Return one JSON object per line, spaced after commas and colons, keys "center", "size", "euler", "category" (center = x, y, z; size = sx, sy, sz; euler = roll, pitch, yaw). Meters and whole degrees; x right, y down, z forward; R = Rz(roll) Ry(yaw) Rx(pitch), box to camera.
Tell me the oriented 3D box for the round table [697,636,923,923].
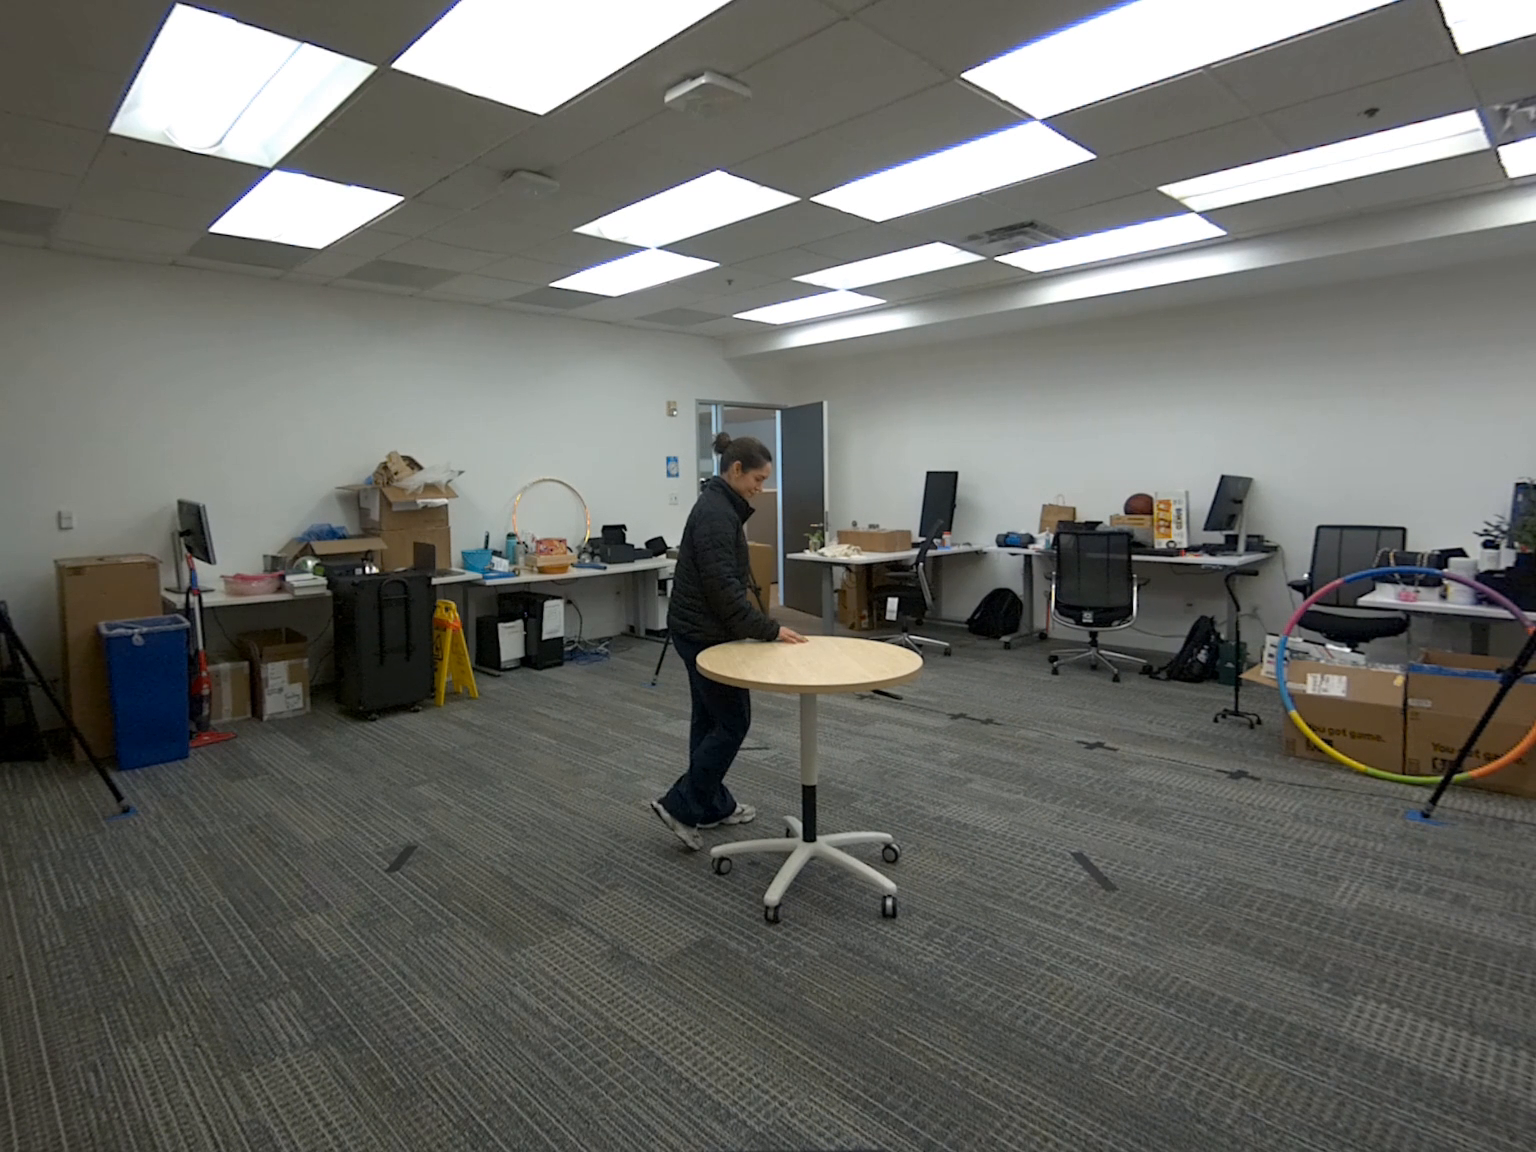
{"center": [0.134, 0.665, 2.952], "size": [0.784, 0.783, 0.789], "euler": [-1, 5, -2], "category": "round table"}
